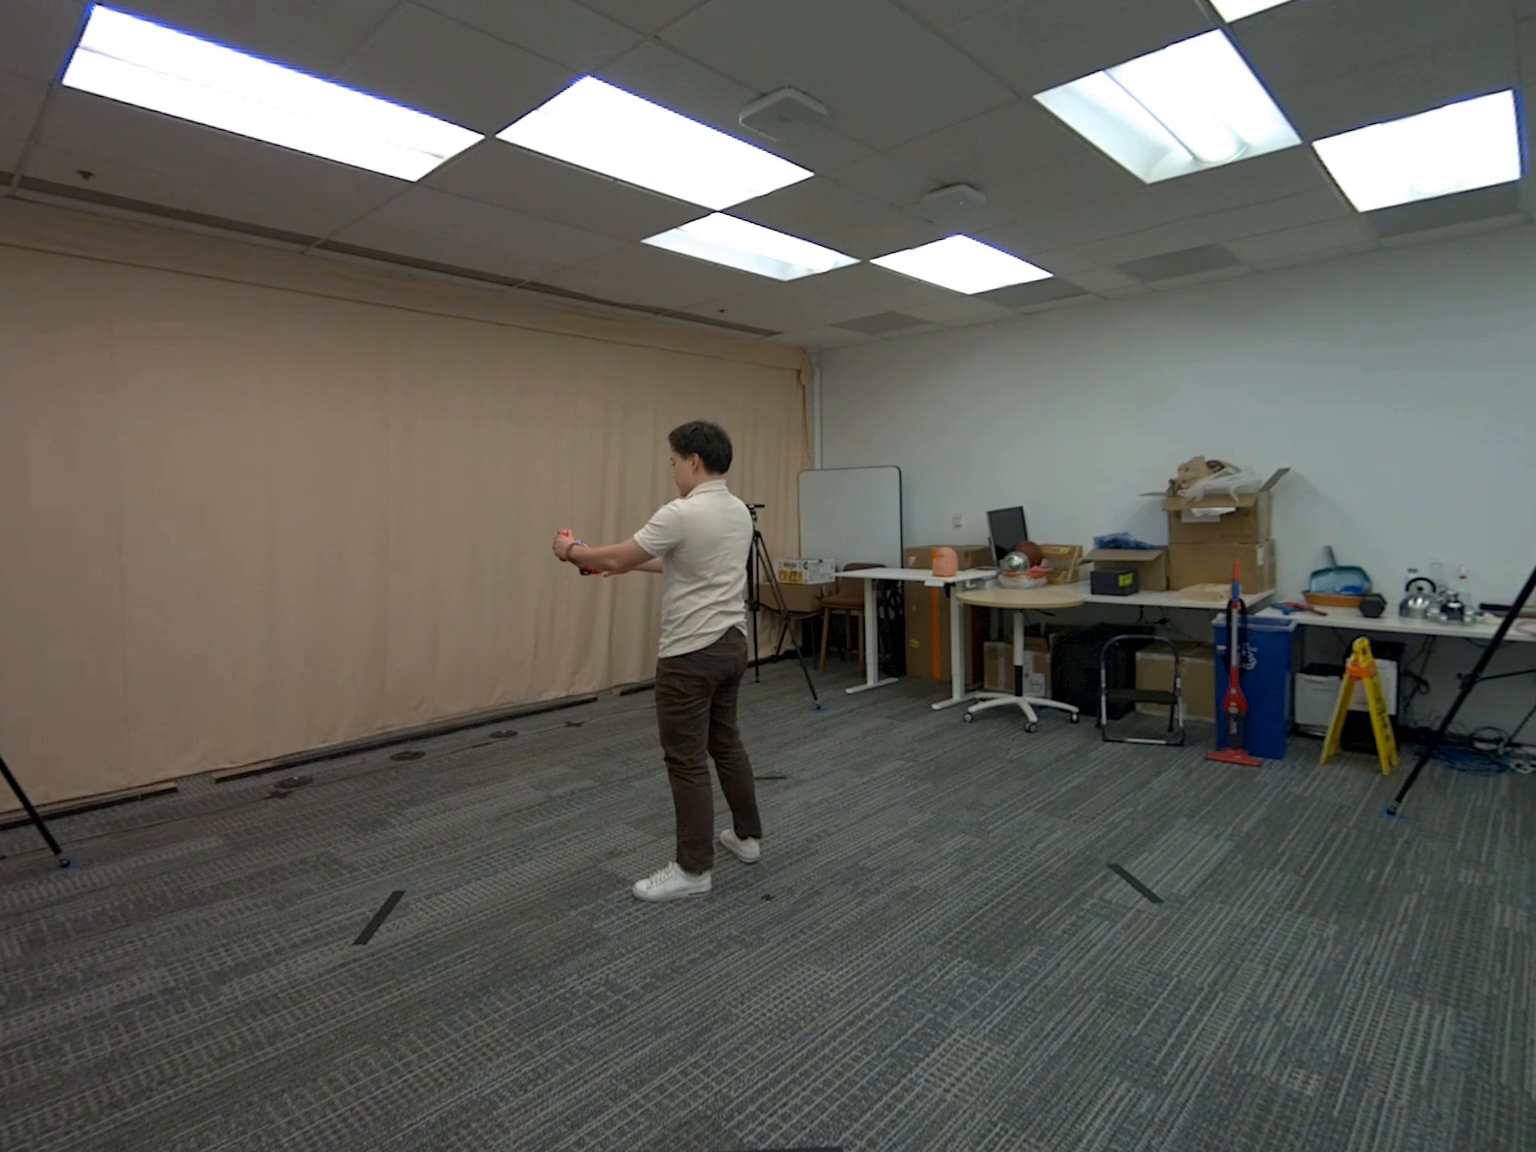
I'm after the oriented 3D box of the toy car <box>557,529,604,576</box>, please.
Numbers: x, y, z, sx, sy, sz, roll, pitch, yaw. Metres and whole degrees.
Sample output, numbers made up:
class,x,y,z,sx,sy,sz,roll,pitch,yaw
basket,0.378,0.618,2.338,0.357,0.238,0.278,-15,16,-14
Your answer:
class,x,y,z,sx,sy,sz,roll,pitch,yaw
toy car,-0.723,-0.082,3.247,0.084,0.133,0.245,-27,-32,23
